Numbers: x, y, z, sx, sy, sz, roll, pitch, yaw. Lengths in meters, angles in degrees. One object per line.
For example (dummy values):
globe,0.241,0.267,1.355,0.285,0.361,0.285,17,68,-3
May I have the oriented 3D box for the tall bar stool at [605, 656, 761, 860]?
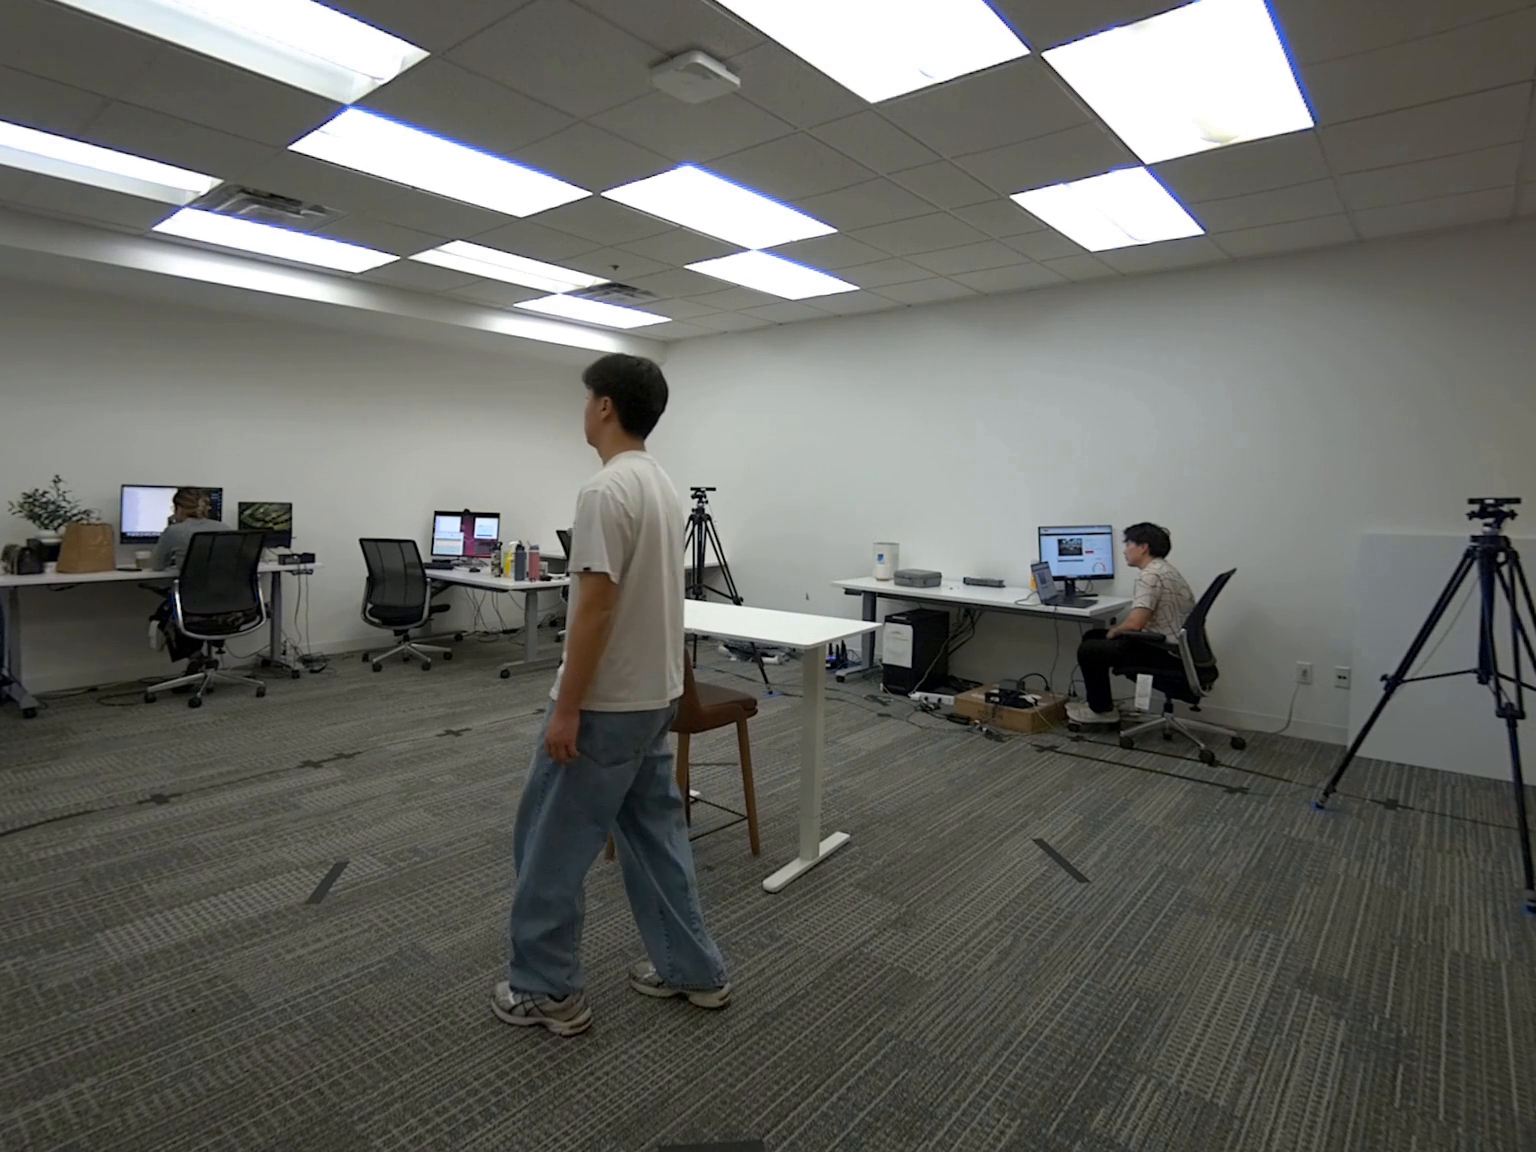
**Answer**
tall bar stool,-0.337,0.621,3.188,0.472,0.885,0.454,4,7,42
